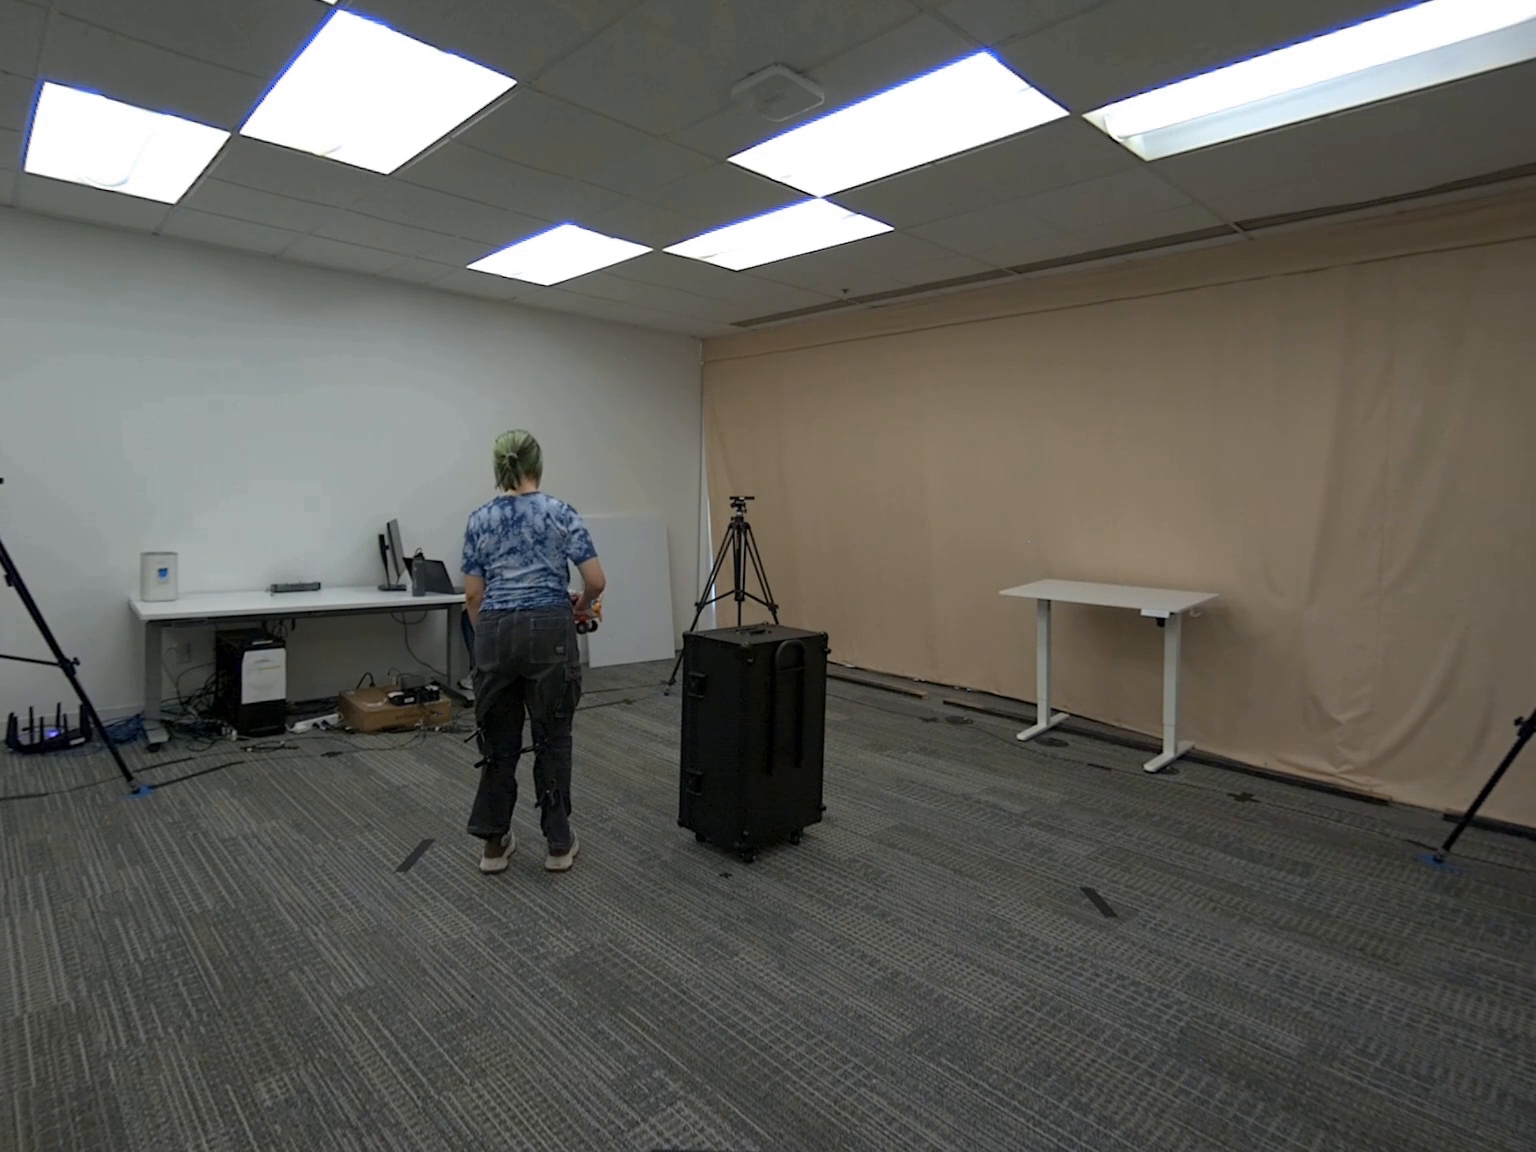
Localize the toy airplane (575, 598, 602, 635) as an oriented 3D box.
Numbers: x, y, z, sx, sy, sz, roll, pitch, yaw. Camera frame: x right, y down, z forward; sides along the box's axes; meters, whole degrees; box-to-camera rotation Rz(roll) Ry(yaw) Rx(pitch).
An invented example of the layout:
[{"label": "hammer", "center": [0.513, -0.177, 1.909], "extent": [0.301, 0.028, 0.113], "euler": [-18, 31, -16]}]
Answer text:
[{"label": "toy airplane", "center": [-0.823, 0.146, 3.469], "extent": [0.256, 0.156, 0.255], "euler": [10, 5, -14]}]
